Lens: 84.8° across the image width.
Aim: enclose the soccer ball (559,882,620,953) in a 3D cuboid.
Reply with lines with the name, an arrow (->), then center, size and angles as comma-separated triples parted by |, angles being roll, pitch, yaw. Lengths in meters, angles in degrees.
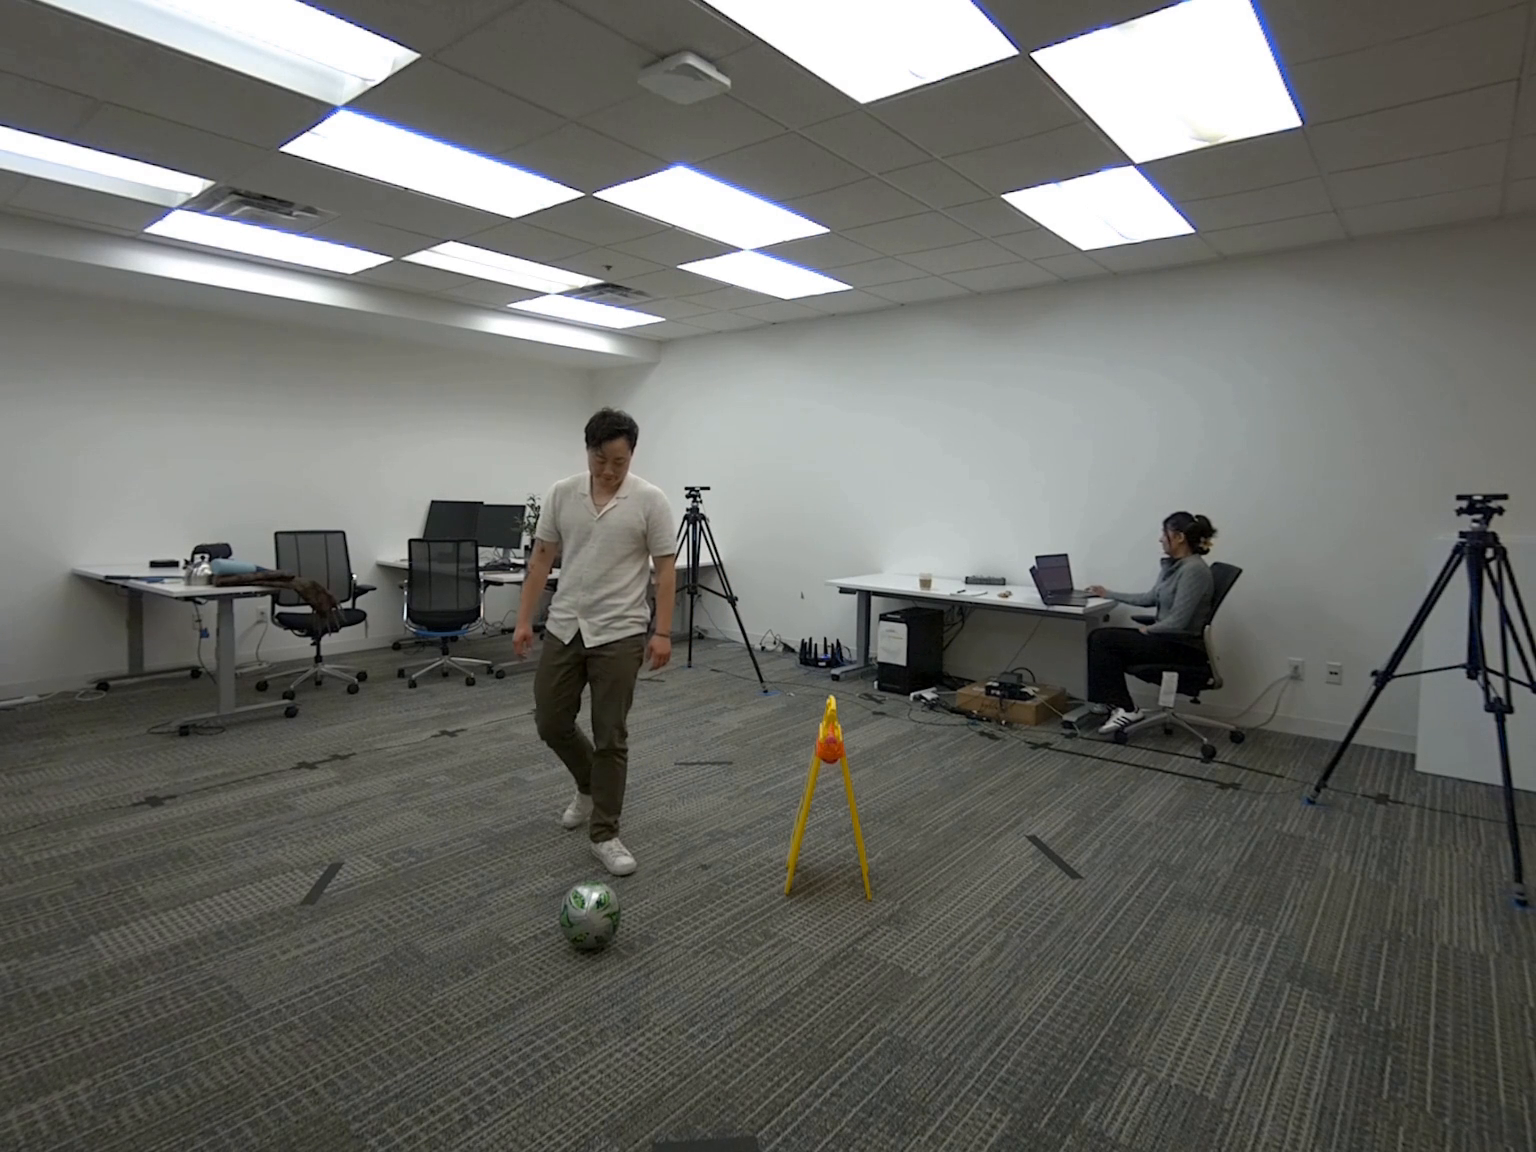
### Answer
soccer ball -> -0.542, 1.013, 2.581 | 0.187, 0.187, 0.188 | 0, 4, -2
